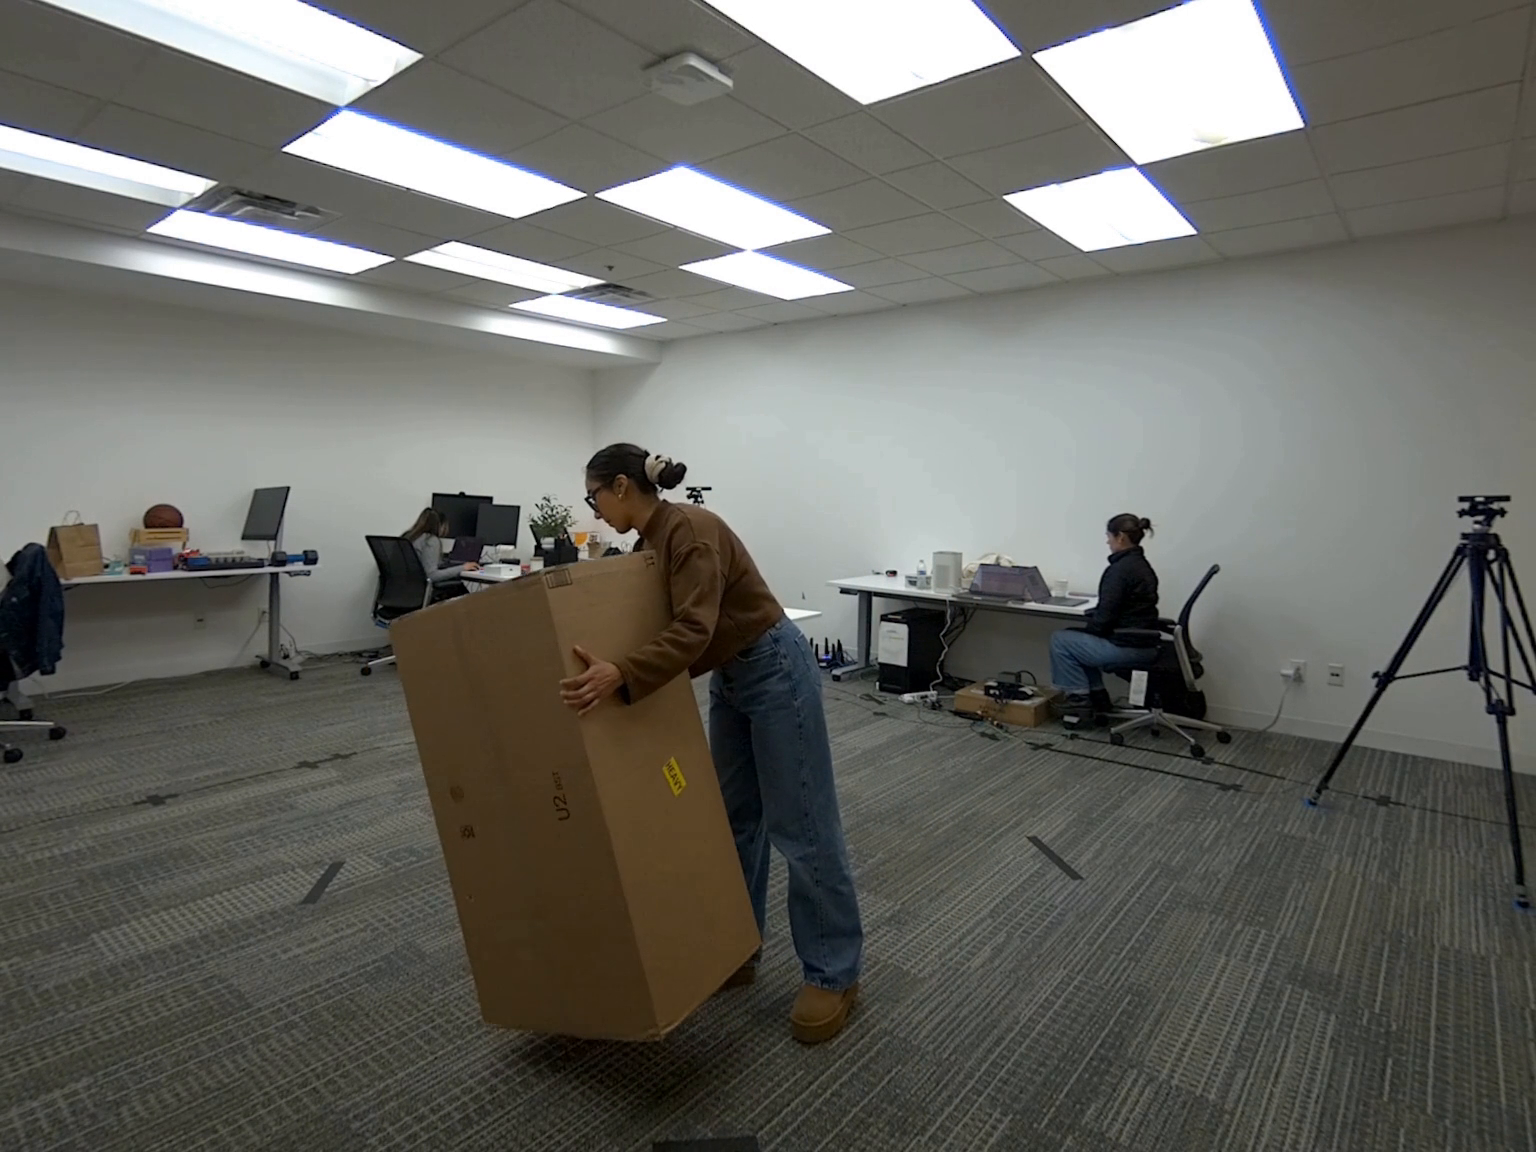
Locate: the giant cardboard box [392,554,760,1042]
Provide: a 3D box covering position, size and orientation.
[{"bbox_3d":[-0.504,0.515,2.134,0.589,1.032,0.415,-17,-5,32],"label":"giant cardboard box"}]
